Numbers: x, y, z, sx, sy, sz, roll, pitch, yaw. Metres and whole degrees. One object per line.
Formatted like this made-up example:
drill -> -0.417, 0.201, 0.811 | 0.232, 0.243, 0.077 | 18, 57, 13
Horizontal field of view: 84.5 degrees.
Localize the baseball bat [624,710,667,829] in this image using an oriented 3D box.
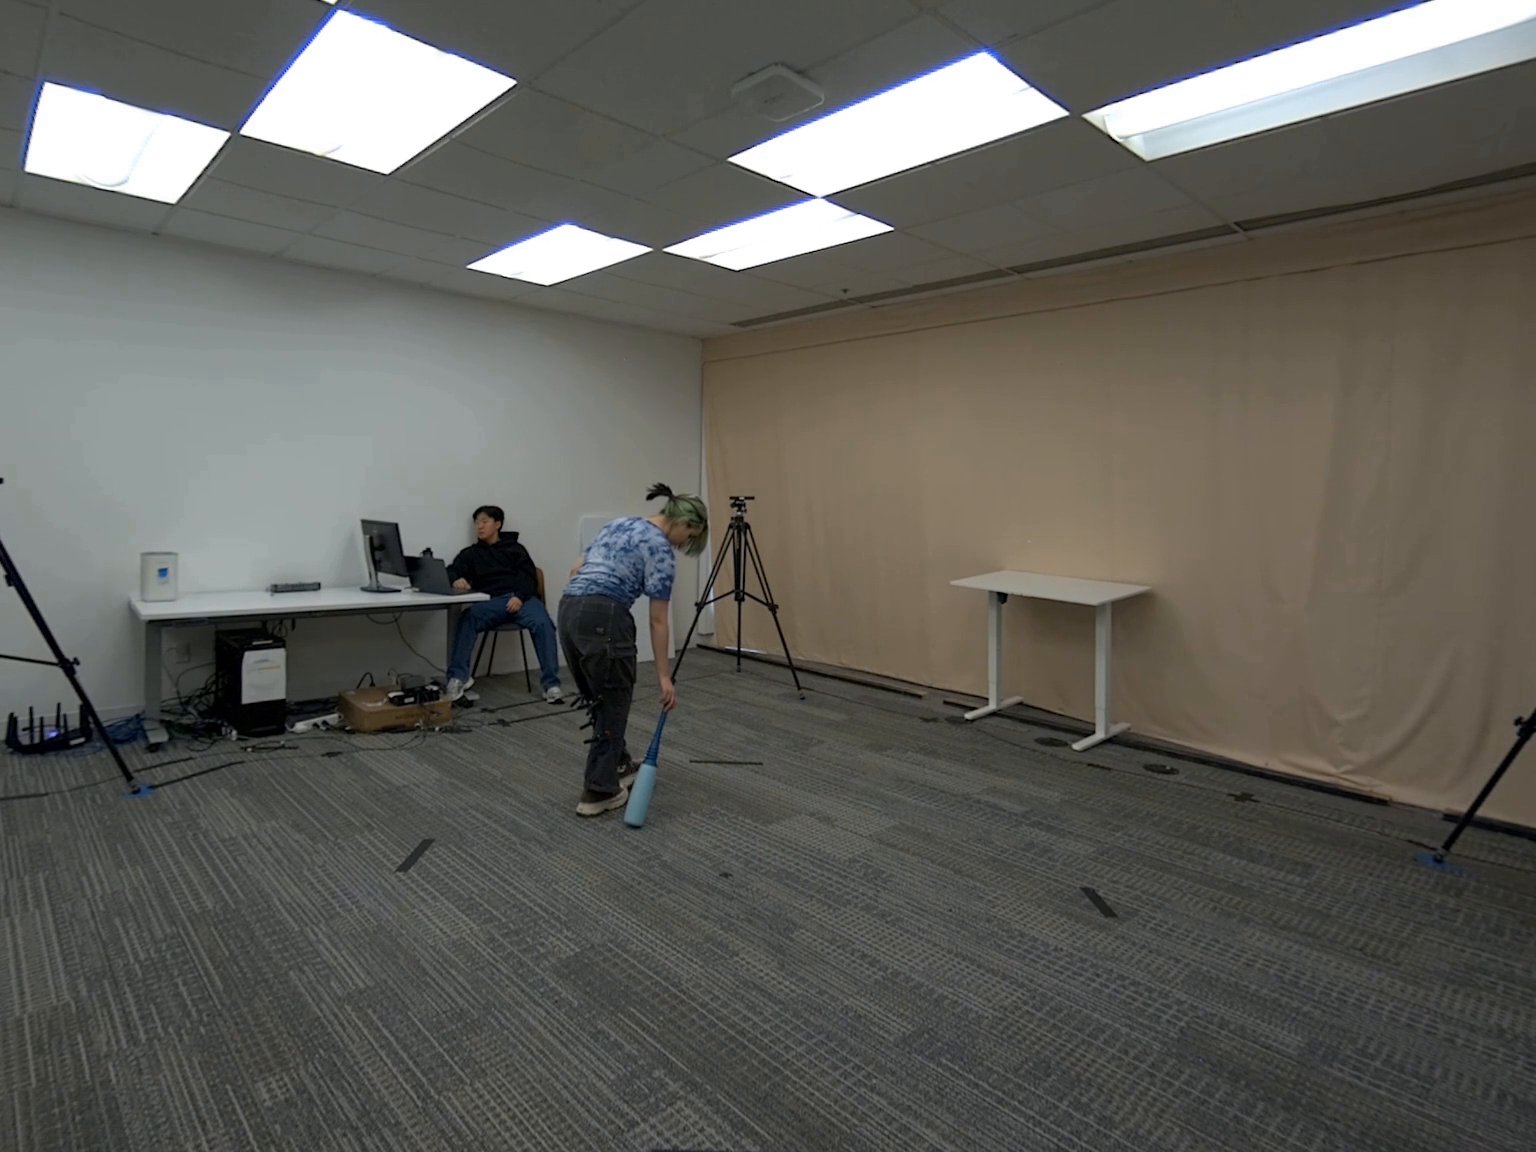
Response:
baseball bat -> -0.519, 0.797, 3.609 | 0.089, 0.548, 0.088 | 12, -18, 3
